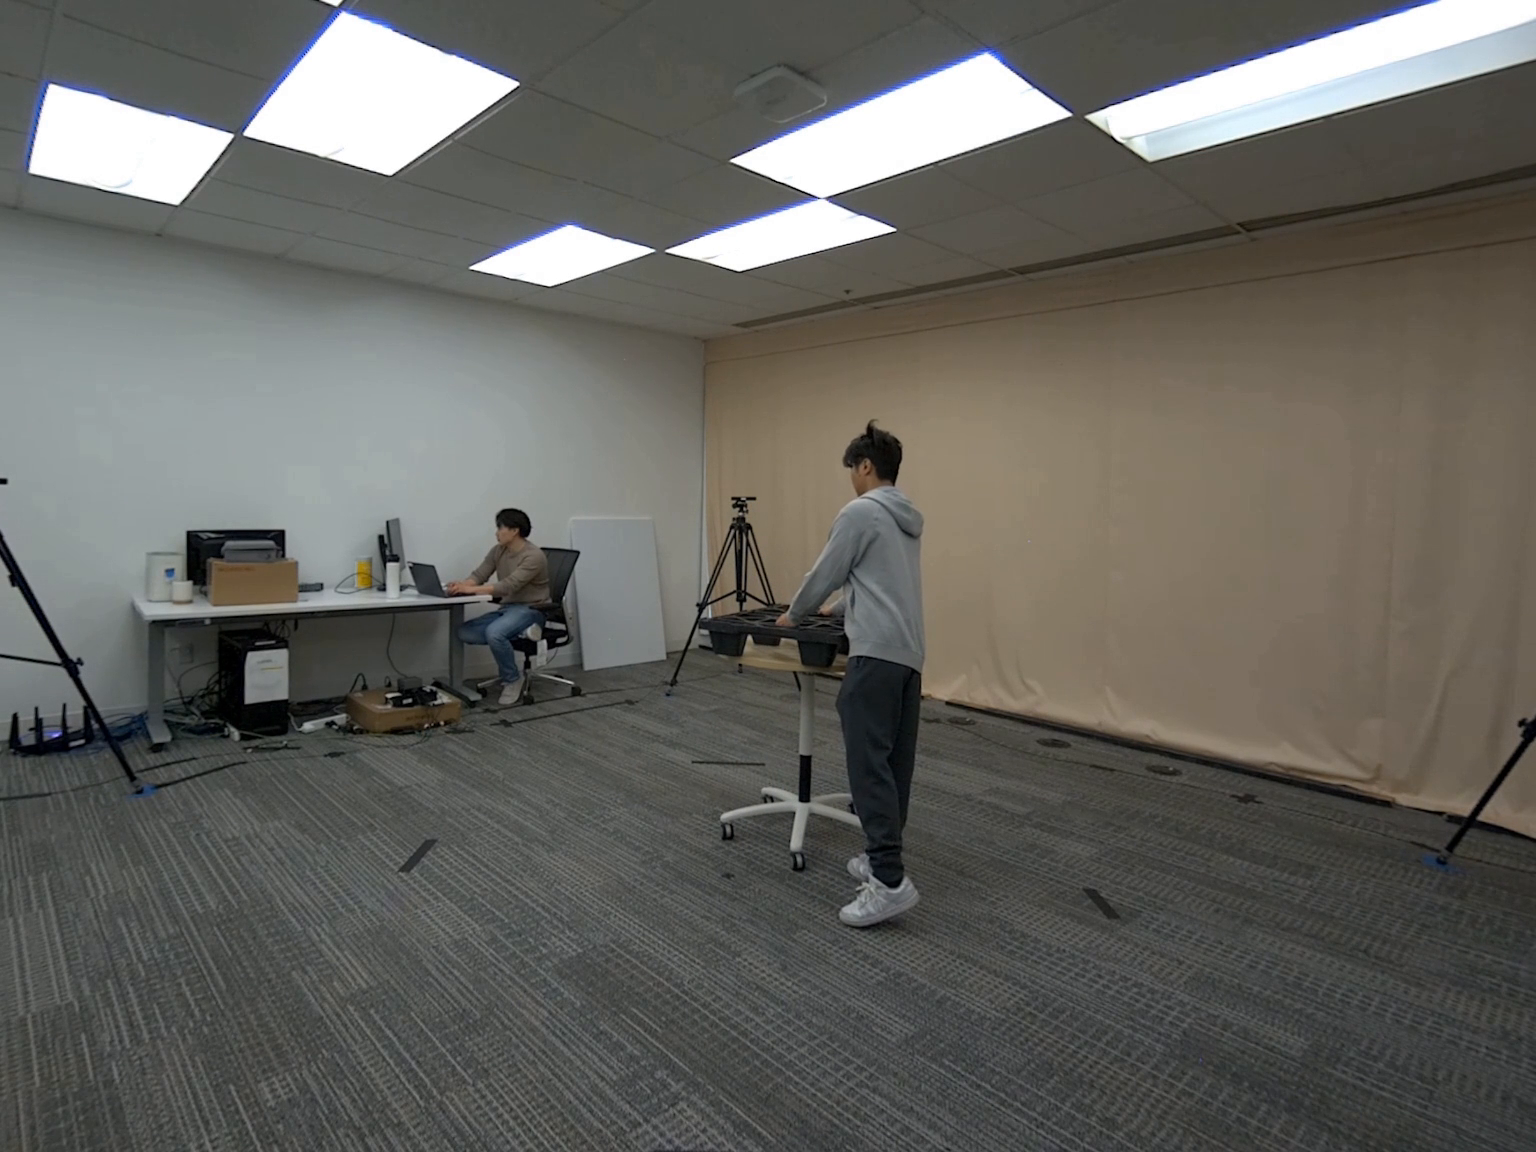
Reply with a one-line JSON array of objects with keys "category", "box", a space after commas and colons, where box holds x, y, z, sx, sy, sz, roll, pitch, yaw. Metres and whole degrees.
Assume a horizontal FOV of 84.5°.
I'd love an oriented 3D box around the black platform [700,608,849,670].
[{"category": "black platform", "box": [0.167, 0.230, 3.474, 0.618, 0.143, 0.791, 5, 6, 28]}]
